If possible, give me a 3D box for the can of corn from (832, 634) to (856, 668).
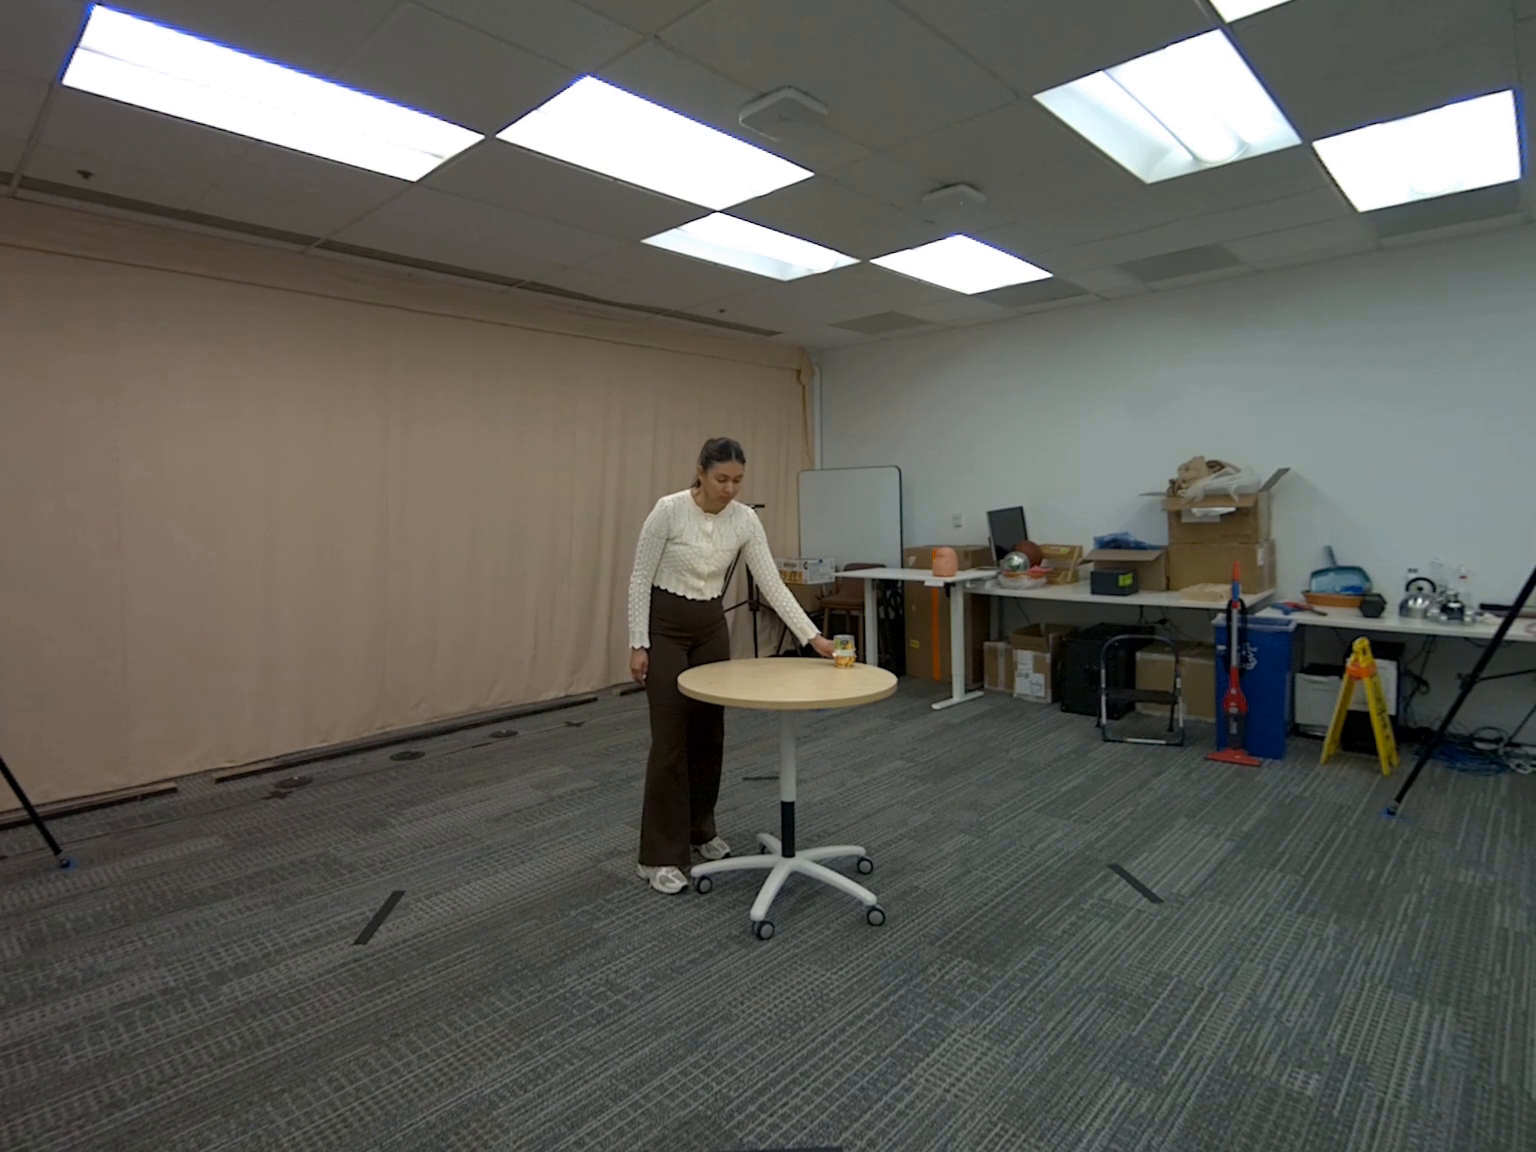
[{"bbox_3d":[0.287,0.283,3.143,0.074,0.111,0.074,-1,1,-2],"label":"can of corn"}]
